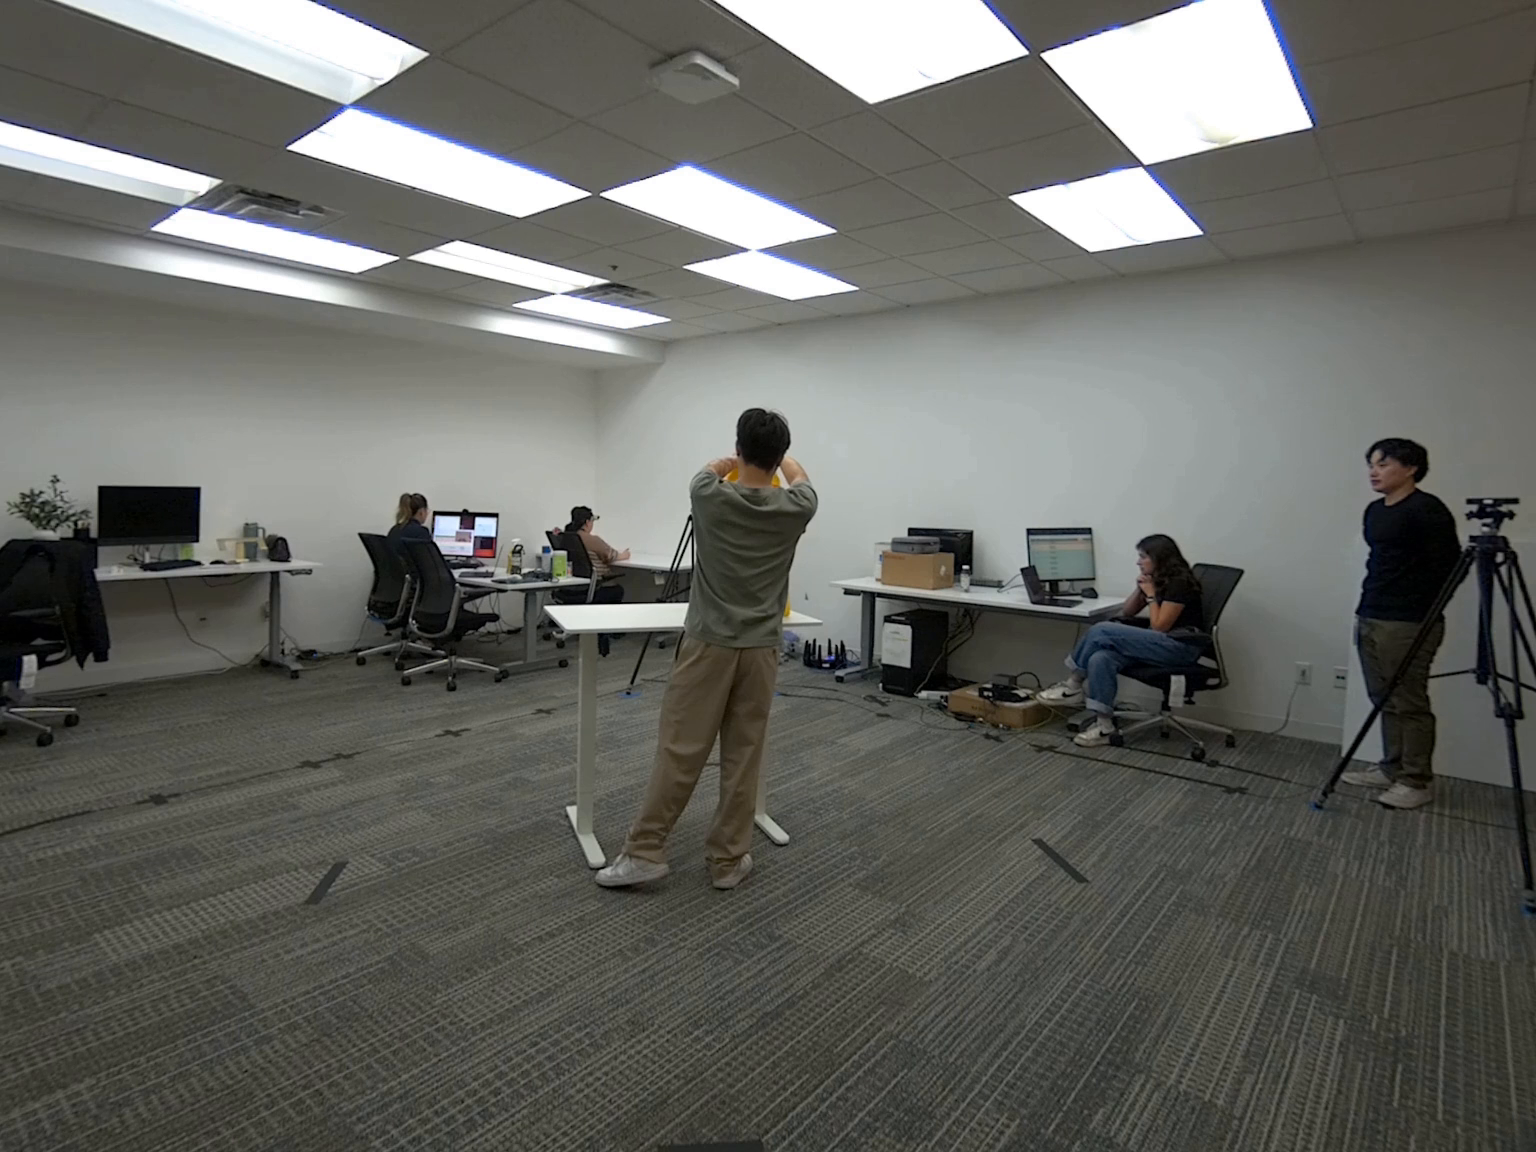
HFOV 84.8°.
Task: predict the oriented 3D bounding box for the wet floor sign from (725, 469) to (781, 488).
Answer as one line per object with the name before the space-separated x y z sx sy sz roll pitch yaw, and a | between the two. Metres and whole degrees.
wet floor sign | -0.083 -0.173 3.533 0.278 0.645 0.294 3 2 -13
